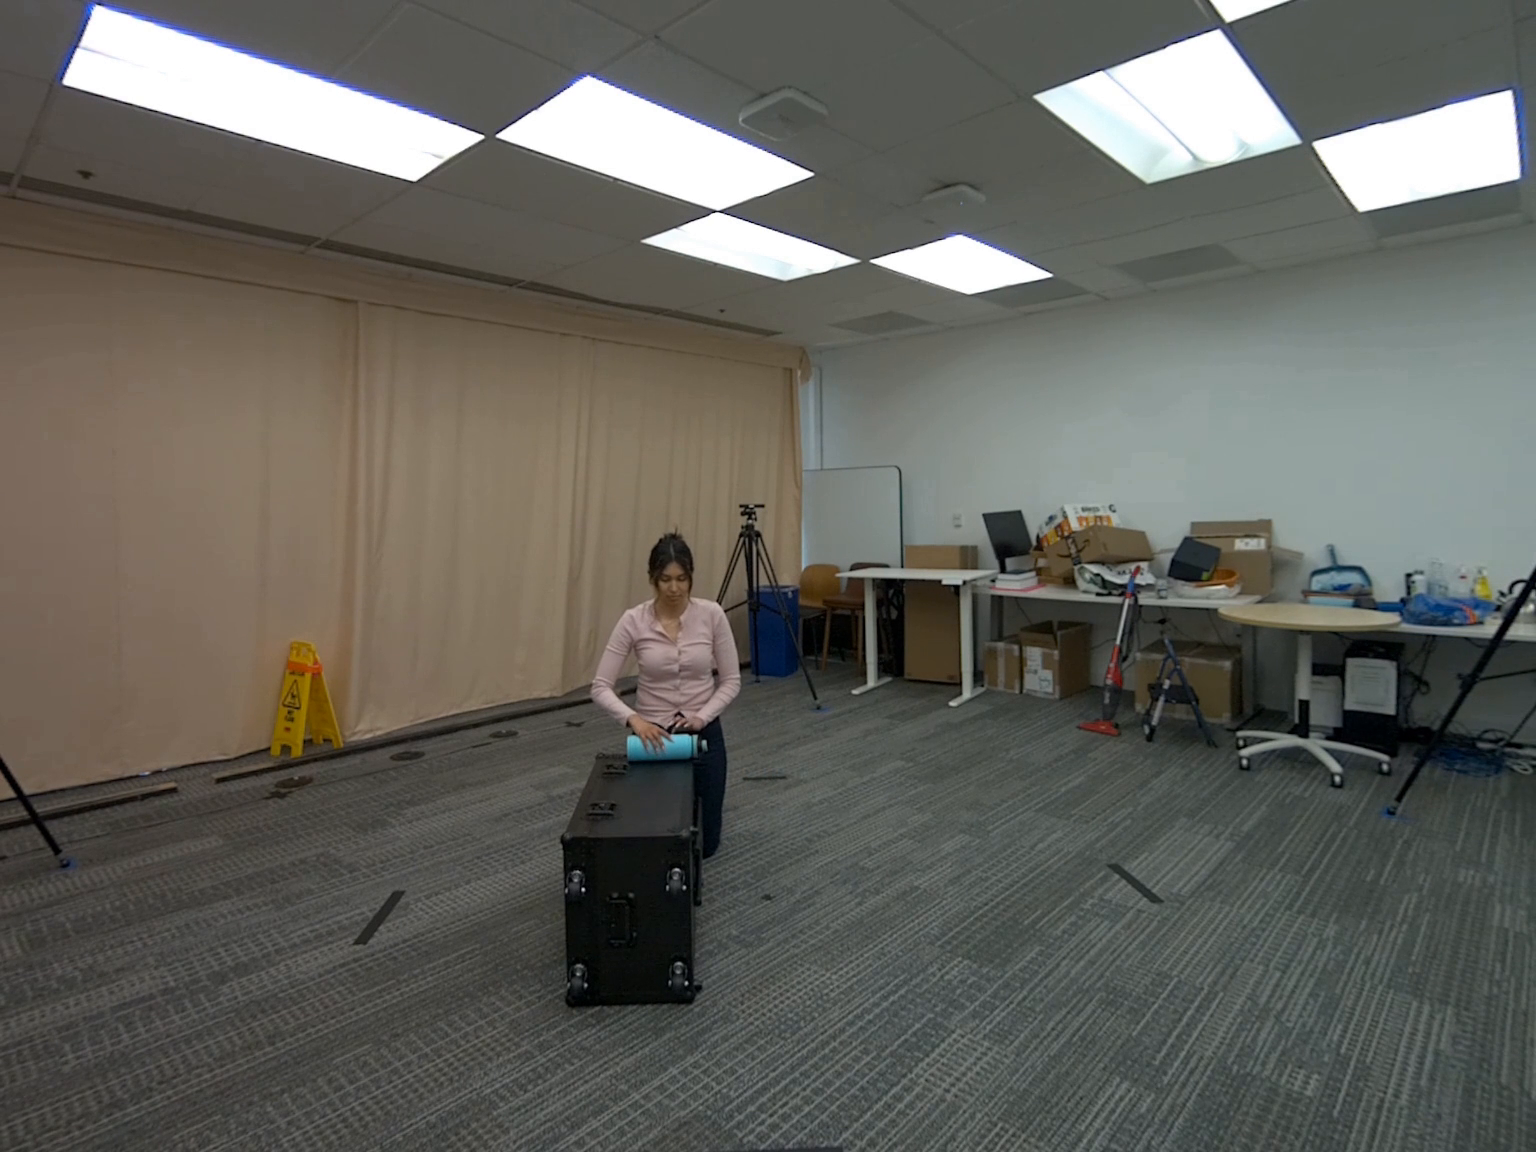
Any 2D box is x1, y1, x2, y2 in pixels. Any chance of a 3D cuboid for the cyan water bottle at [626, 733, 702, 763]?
[{"bbox_3d":[-0.369,0.619,3.022,0.282,0.092,0.093,3,4,-3],"label":"cyan water bottle"}]
